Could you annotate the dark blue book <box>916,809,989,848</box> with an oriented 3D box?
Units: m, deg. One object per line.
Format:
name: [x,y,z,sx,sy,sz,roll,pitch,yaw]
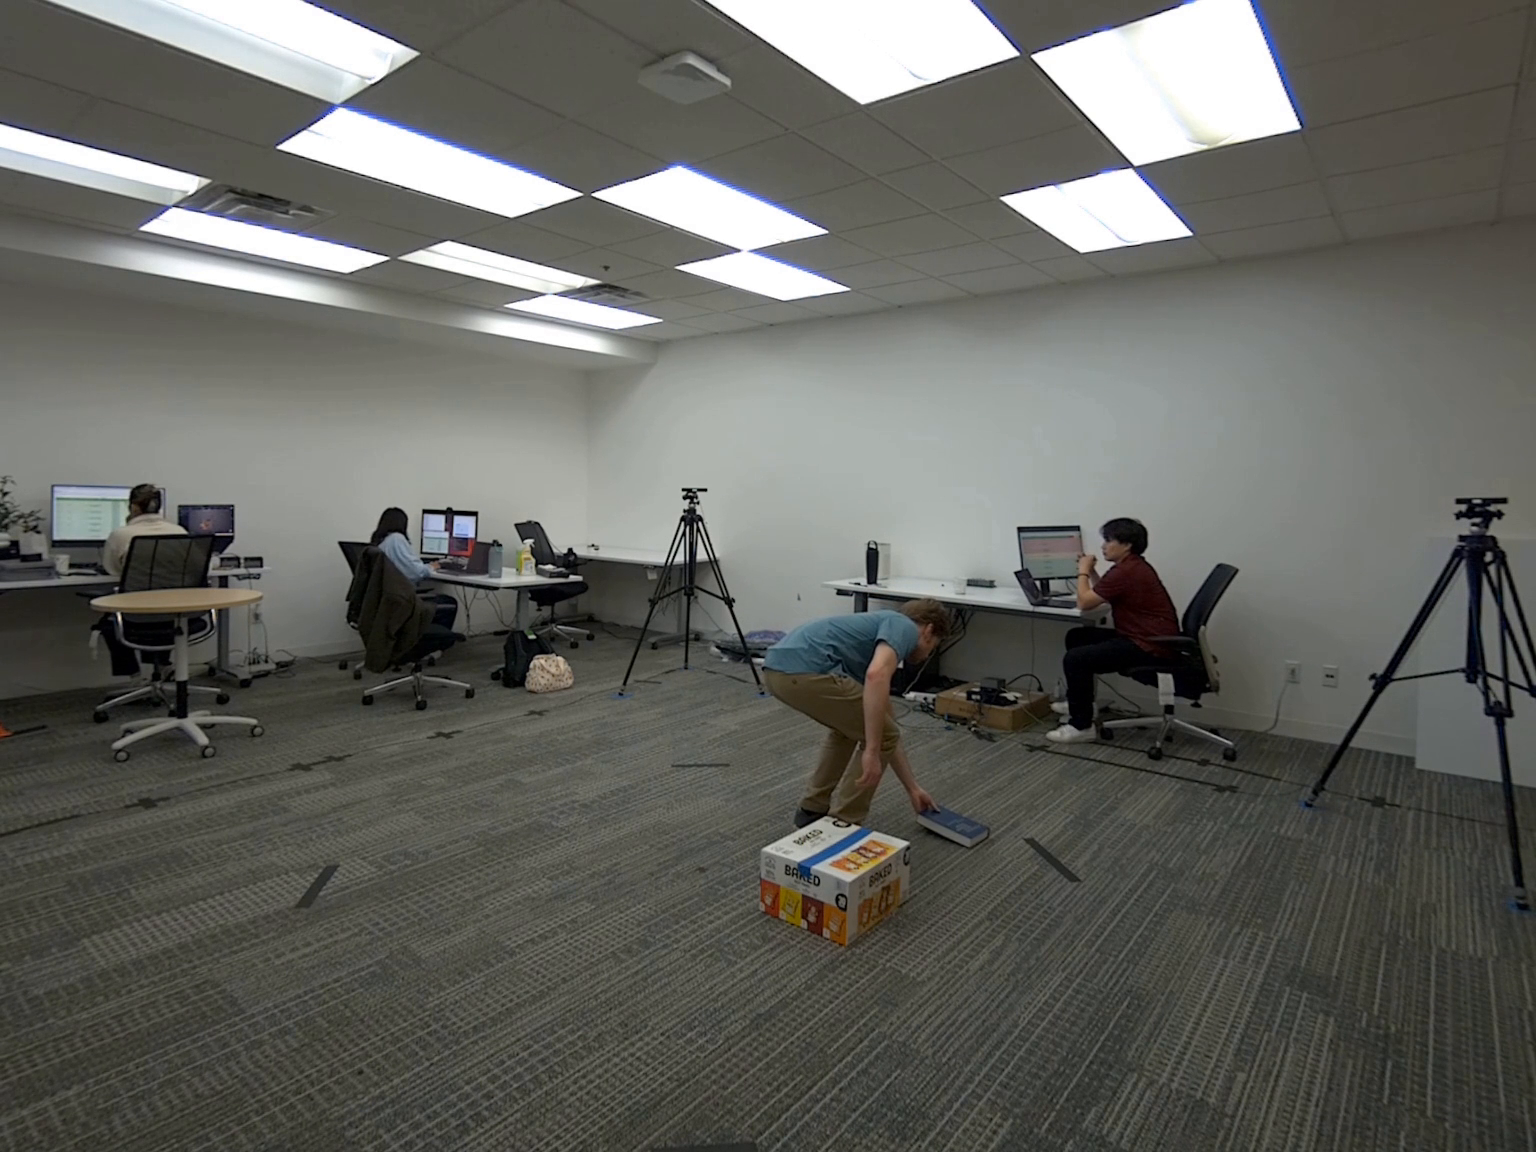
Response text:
dark blue book: [0.751,1.025,3.480,0.254,0.045,0.158,16,14,41]
